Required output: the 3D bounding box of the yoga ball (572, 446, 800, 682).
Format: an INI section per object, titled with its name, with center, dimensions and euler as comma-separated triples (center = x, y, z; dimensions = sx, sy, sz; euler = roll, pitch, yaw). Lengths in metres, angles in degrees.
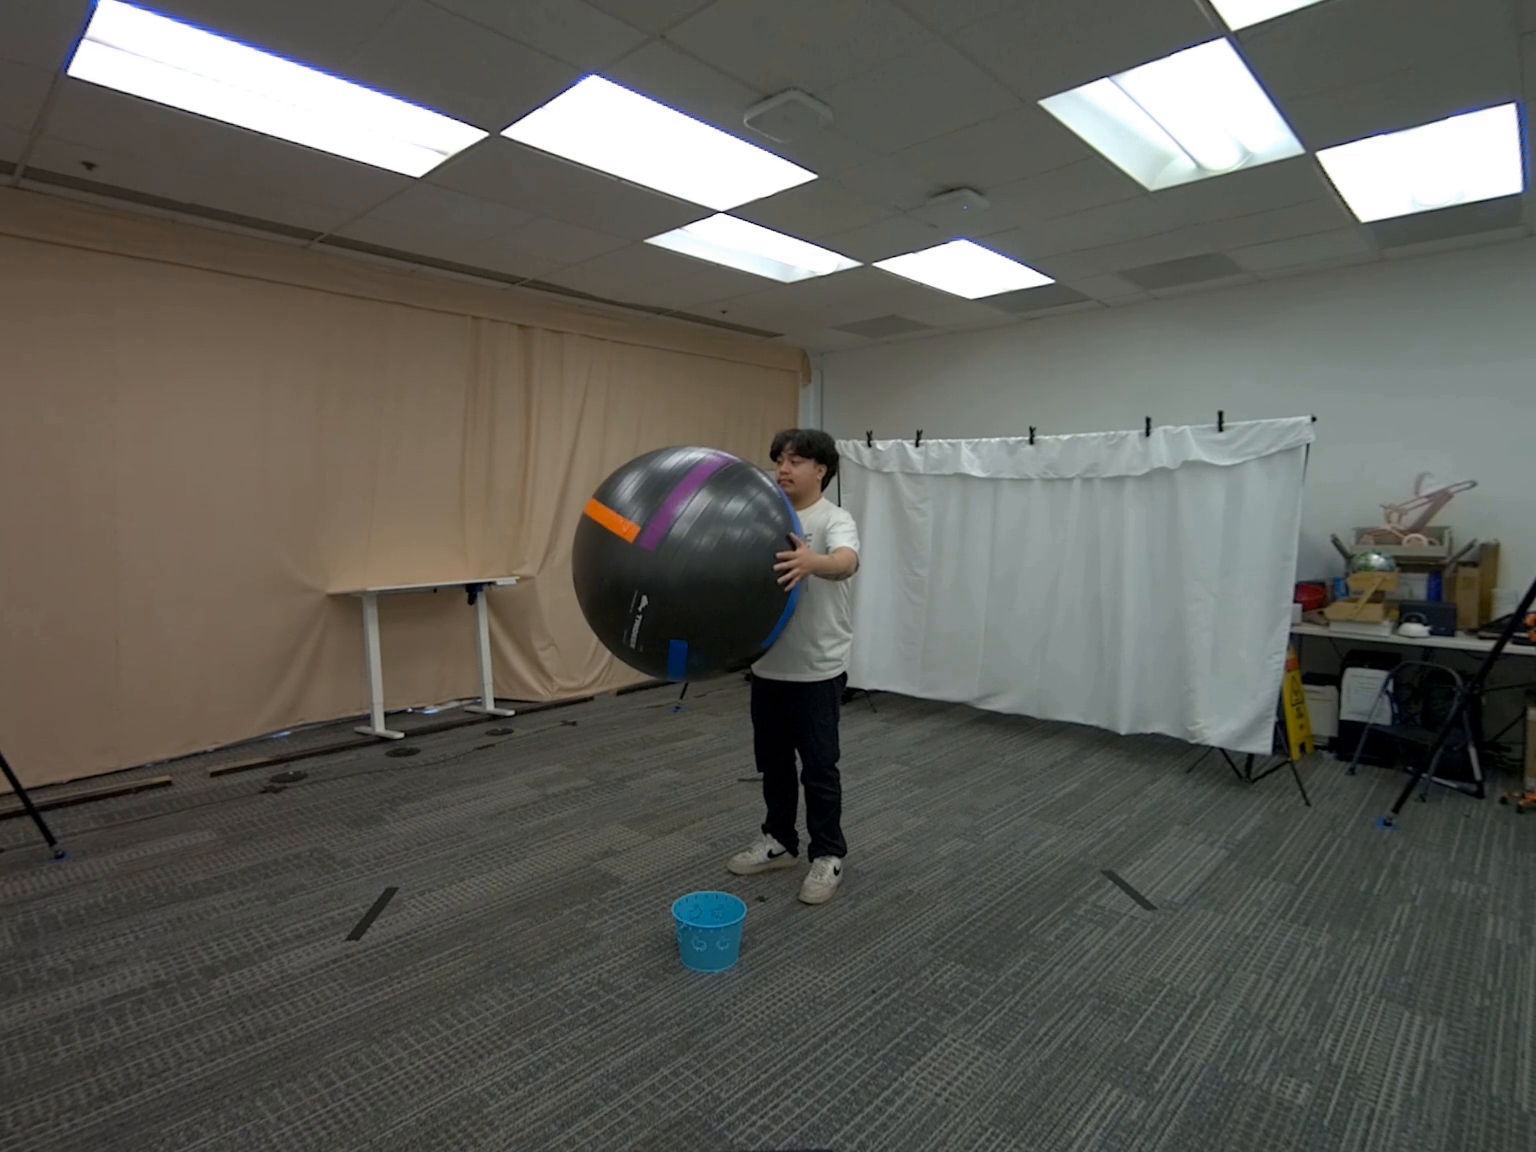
[yoga ball]
center = -0.257, -0.032, 2.709
dimensions = 0.757, 0.756, 0.760
euler = 0, 4, -2
